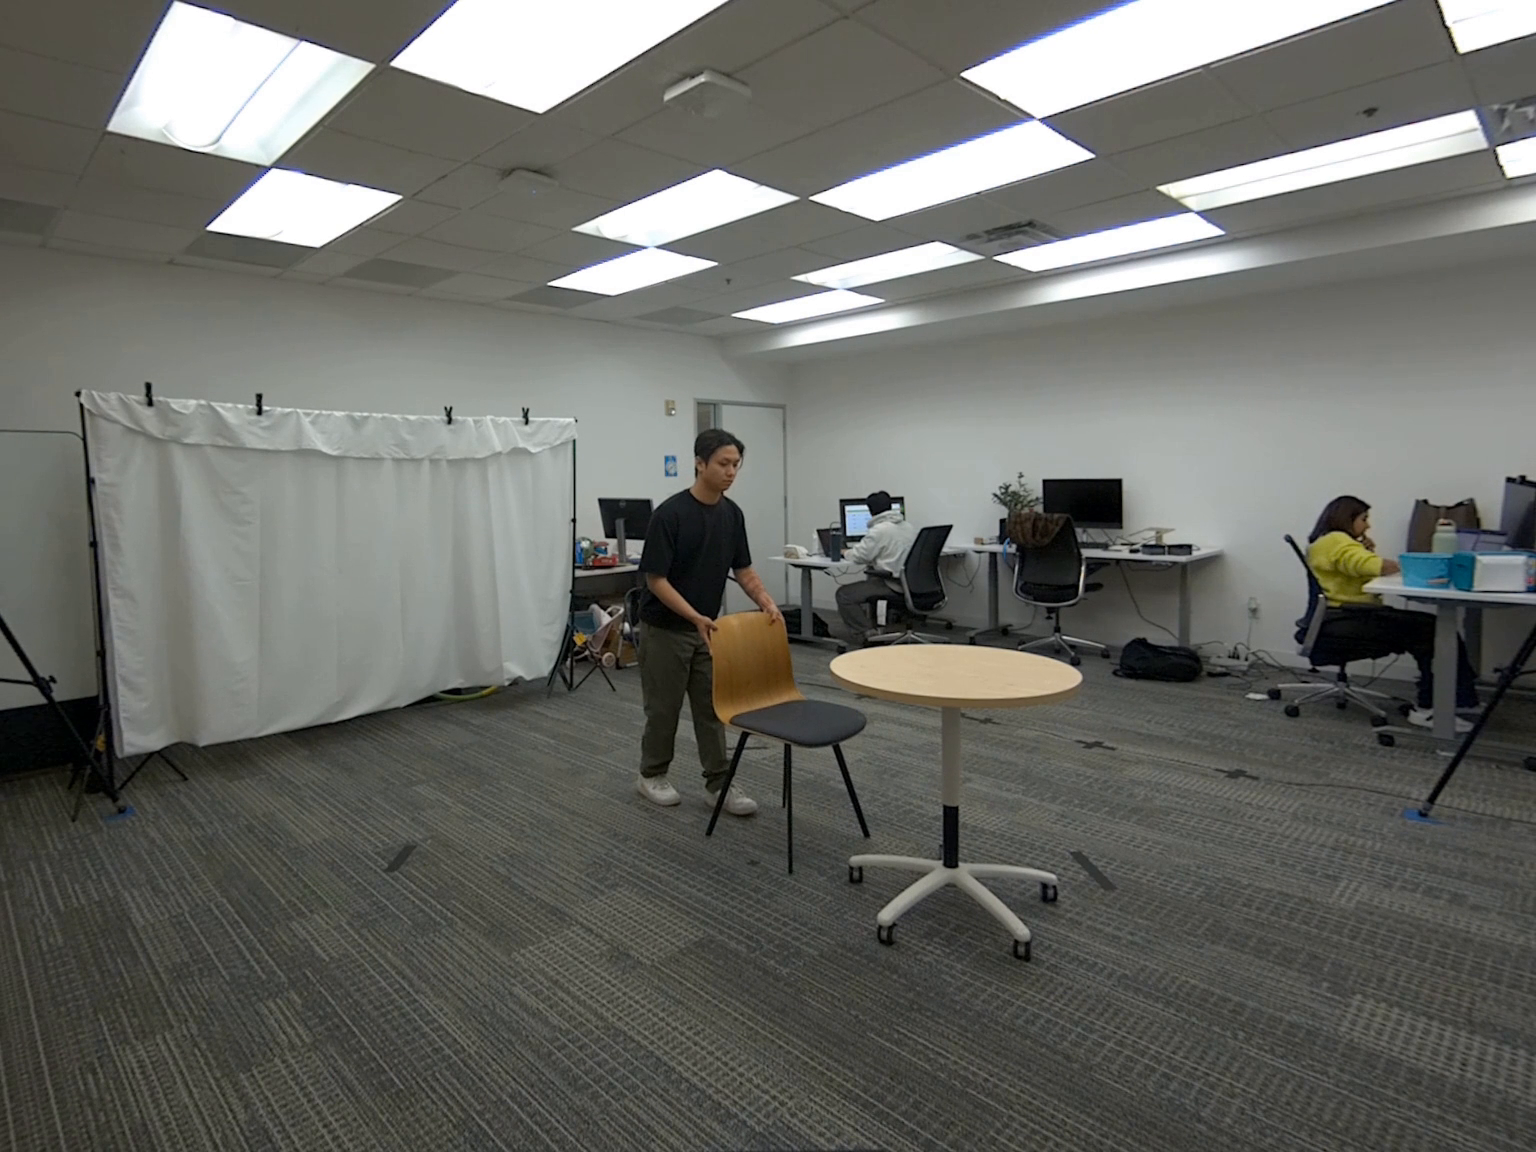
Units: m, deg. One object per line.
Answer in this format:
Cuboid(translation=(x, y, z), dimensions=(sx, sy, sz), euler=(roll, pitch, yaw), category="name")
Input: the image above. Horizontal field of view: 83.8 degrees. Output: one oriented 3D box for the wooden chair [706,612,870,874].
Cuboid(translation=(0.077, 0.590, 3.281), dimensions=(0.465, 0.877, 0.538), euler=(-4, 1, -44), category="wooden chair")
